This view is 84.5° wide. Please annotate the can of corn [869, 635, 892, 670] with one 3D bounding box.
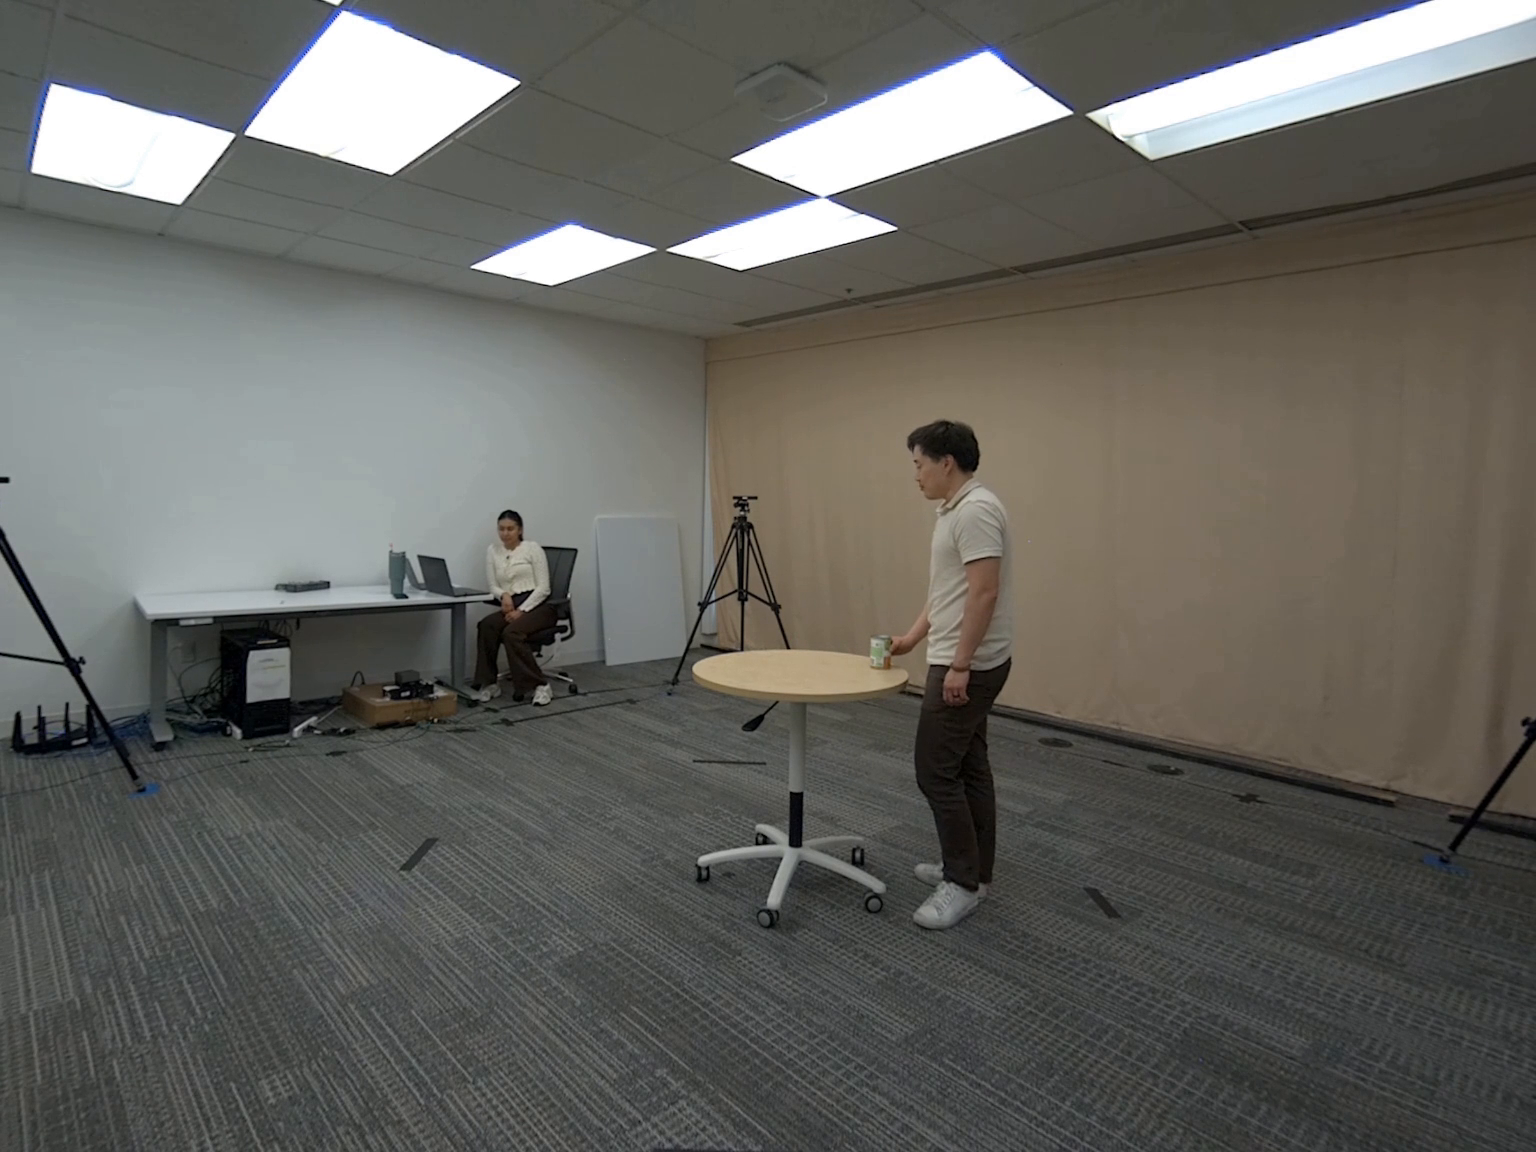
[{"bbox_3d":[0.403,0.274,3.056,0.074,0.111,0.074,-2,3,-1],"label":"can of corn"}]
